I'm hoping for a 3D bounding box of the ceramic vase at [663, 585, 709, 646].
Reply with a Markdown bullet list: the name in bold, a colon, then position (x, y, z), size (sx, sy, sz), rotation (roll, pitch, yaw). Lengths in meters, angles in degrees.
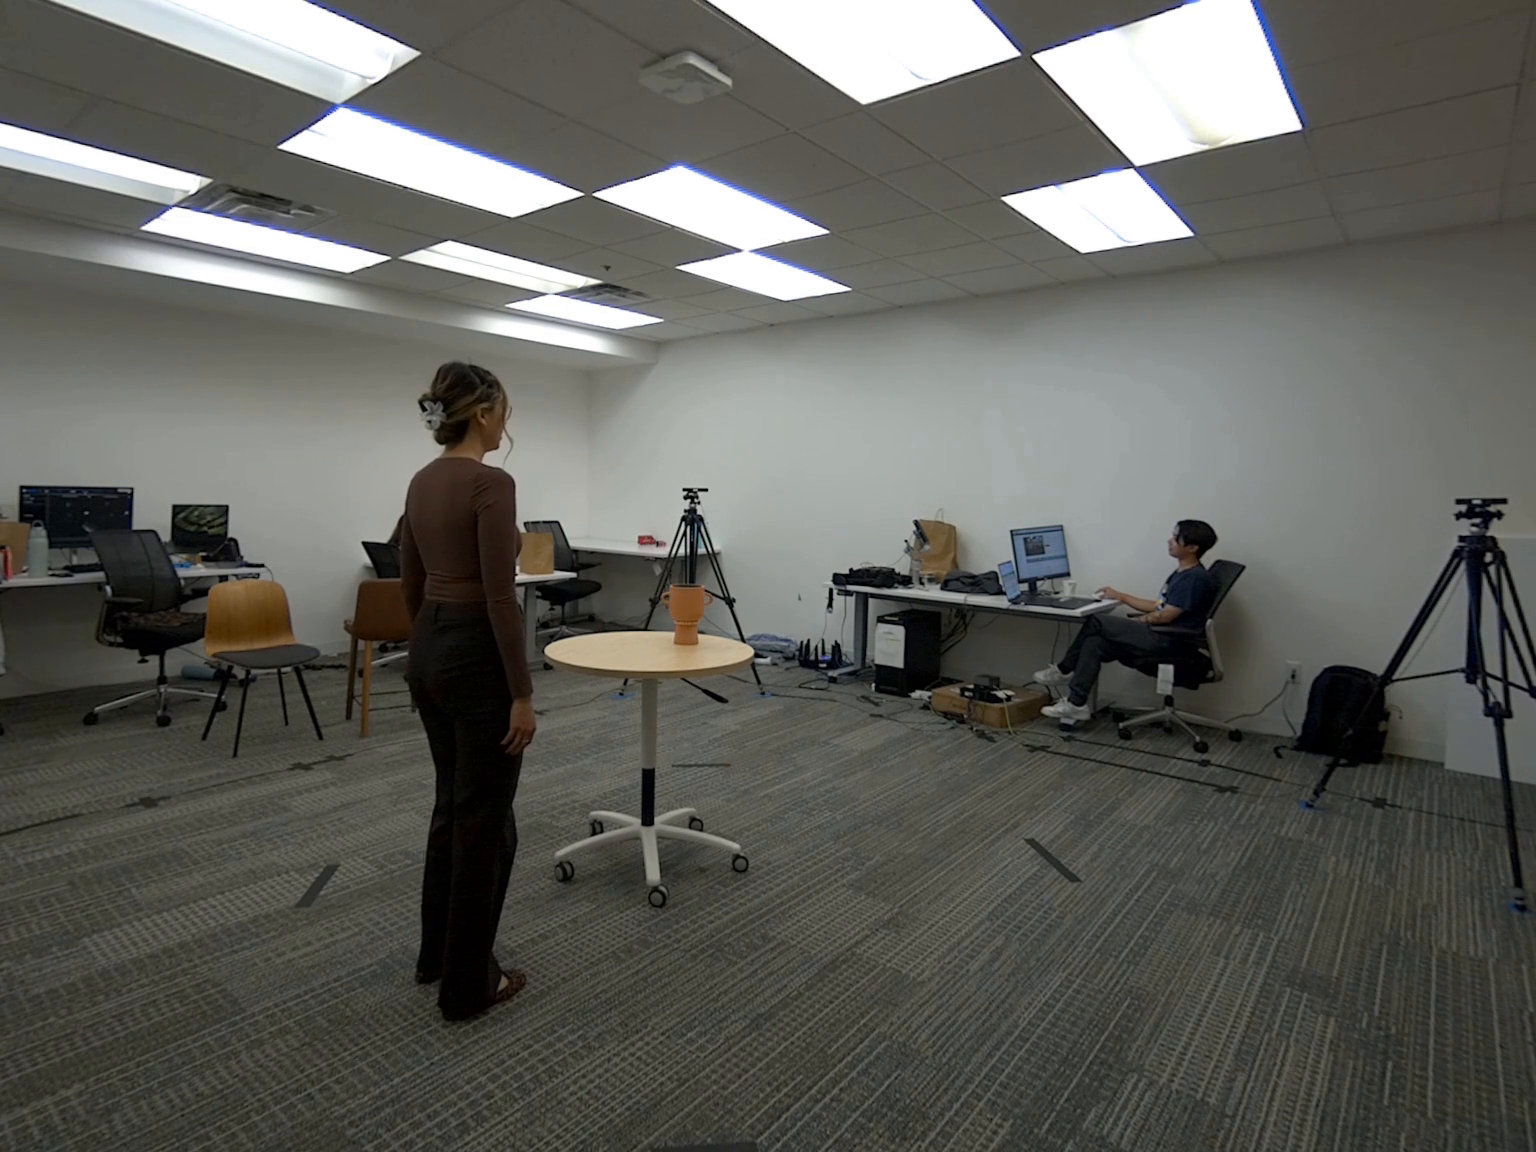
- **ceramic vase**: position (-0.322, 0.146, 3.262), size (0.163, 0.219, 0.131), rotation (4, 4, 29)
